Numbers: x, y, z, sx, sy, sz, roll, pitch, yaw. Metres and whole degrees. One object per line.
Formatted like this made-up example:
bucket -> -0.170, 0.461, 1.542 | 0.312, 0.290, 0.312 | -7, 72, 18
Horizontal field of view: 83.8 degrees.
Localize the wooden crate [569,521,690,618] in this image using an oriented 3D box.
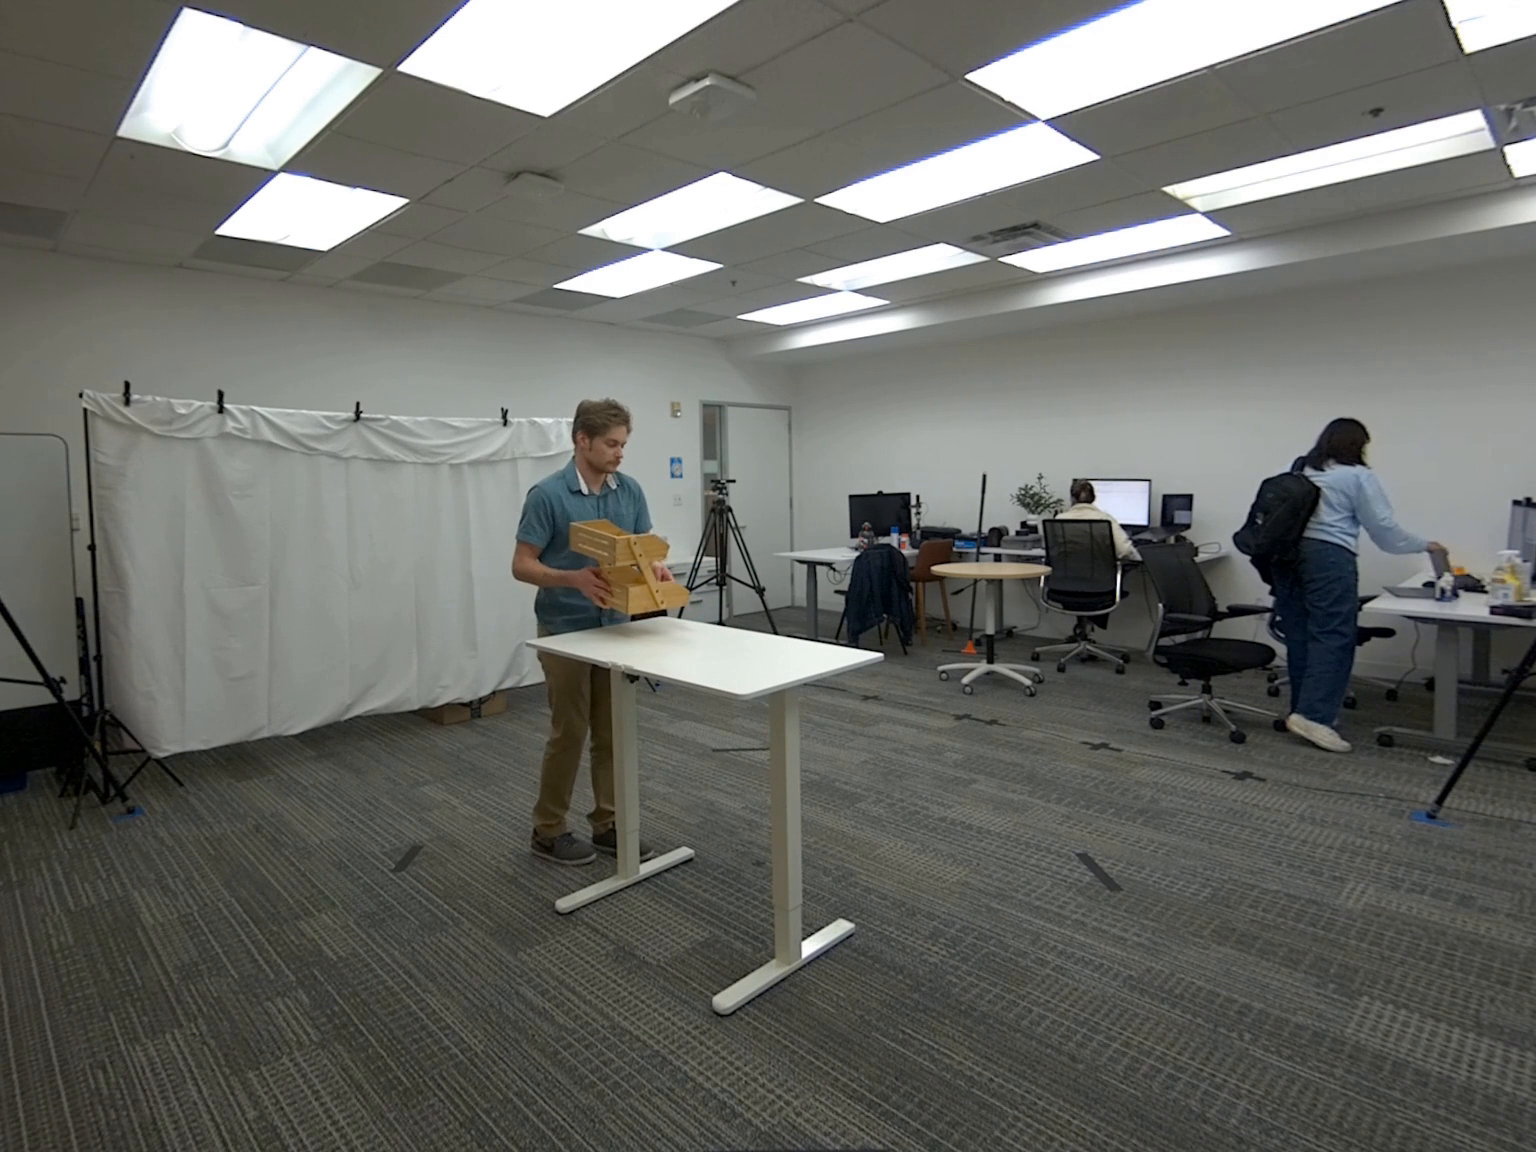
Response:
wooden crate -> -0.469, -0.044, 2.909 | 0.294, 0.271, 0.336 | -7, 15, -39
